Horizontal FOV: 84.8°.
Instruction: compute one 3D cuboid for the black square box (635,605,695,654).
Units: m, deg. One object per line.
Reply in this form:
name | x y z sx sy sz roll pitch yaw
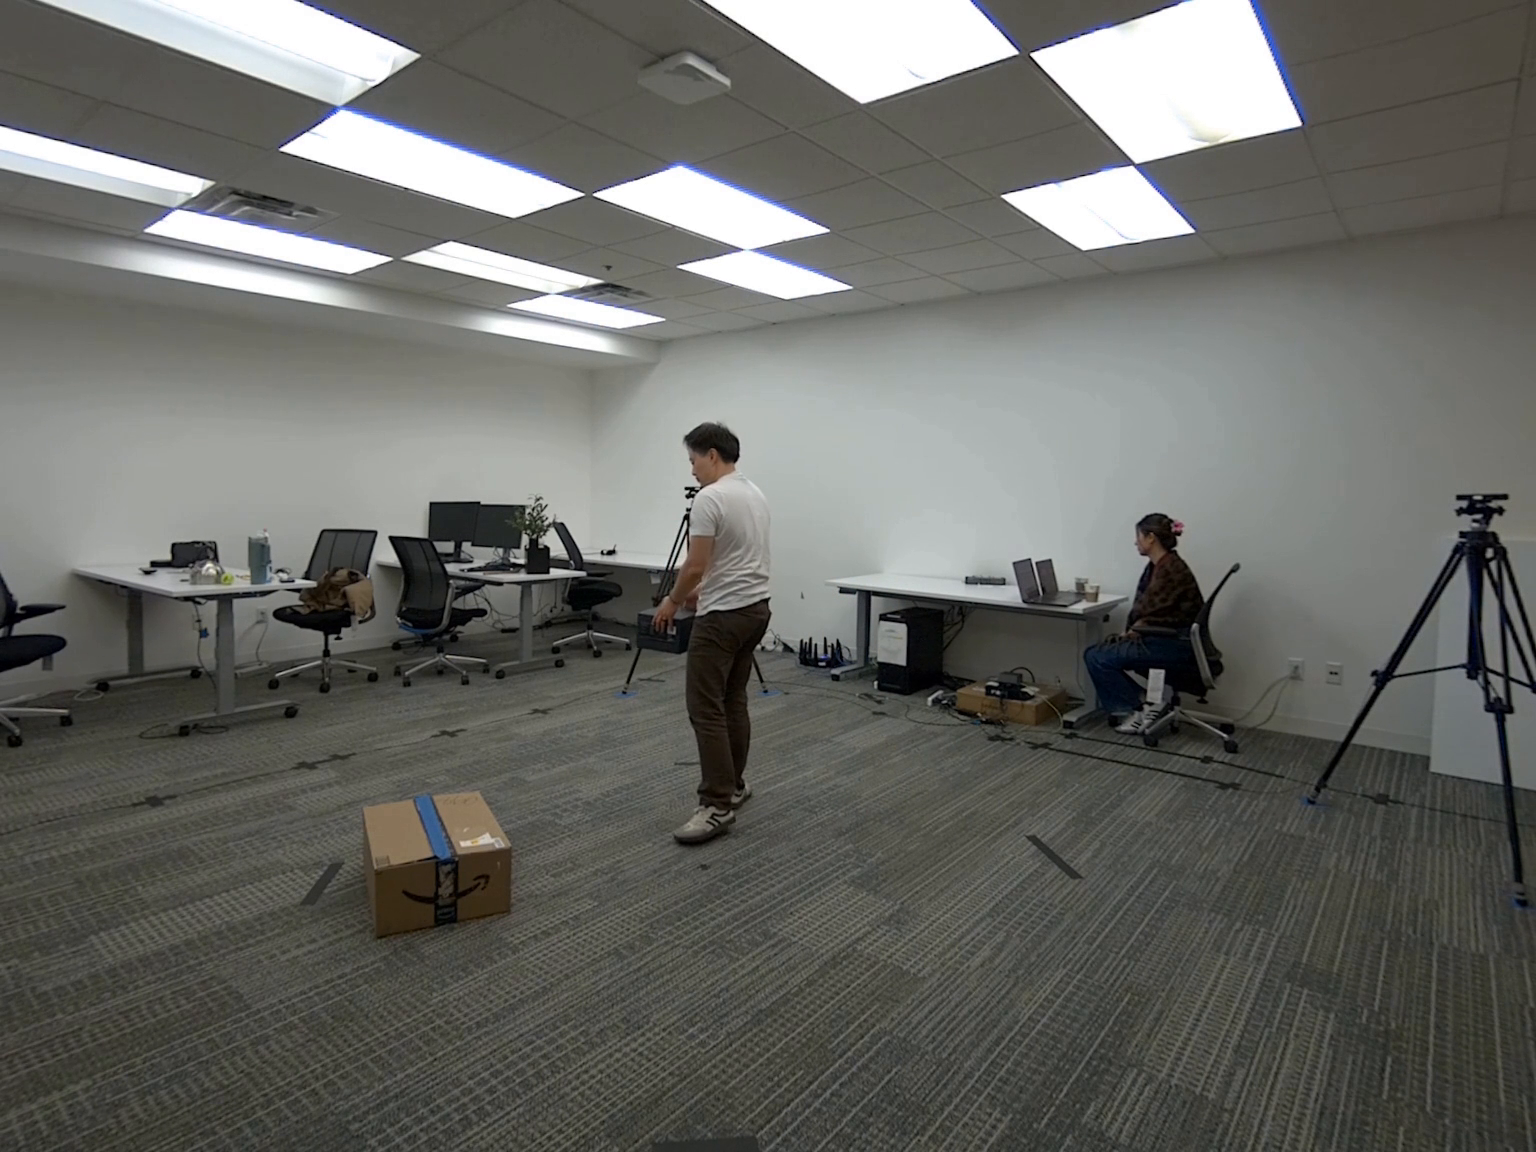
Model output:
black square box | -0.441 0.232 3.779 0.222 0.155 0.223 6 8 22
